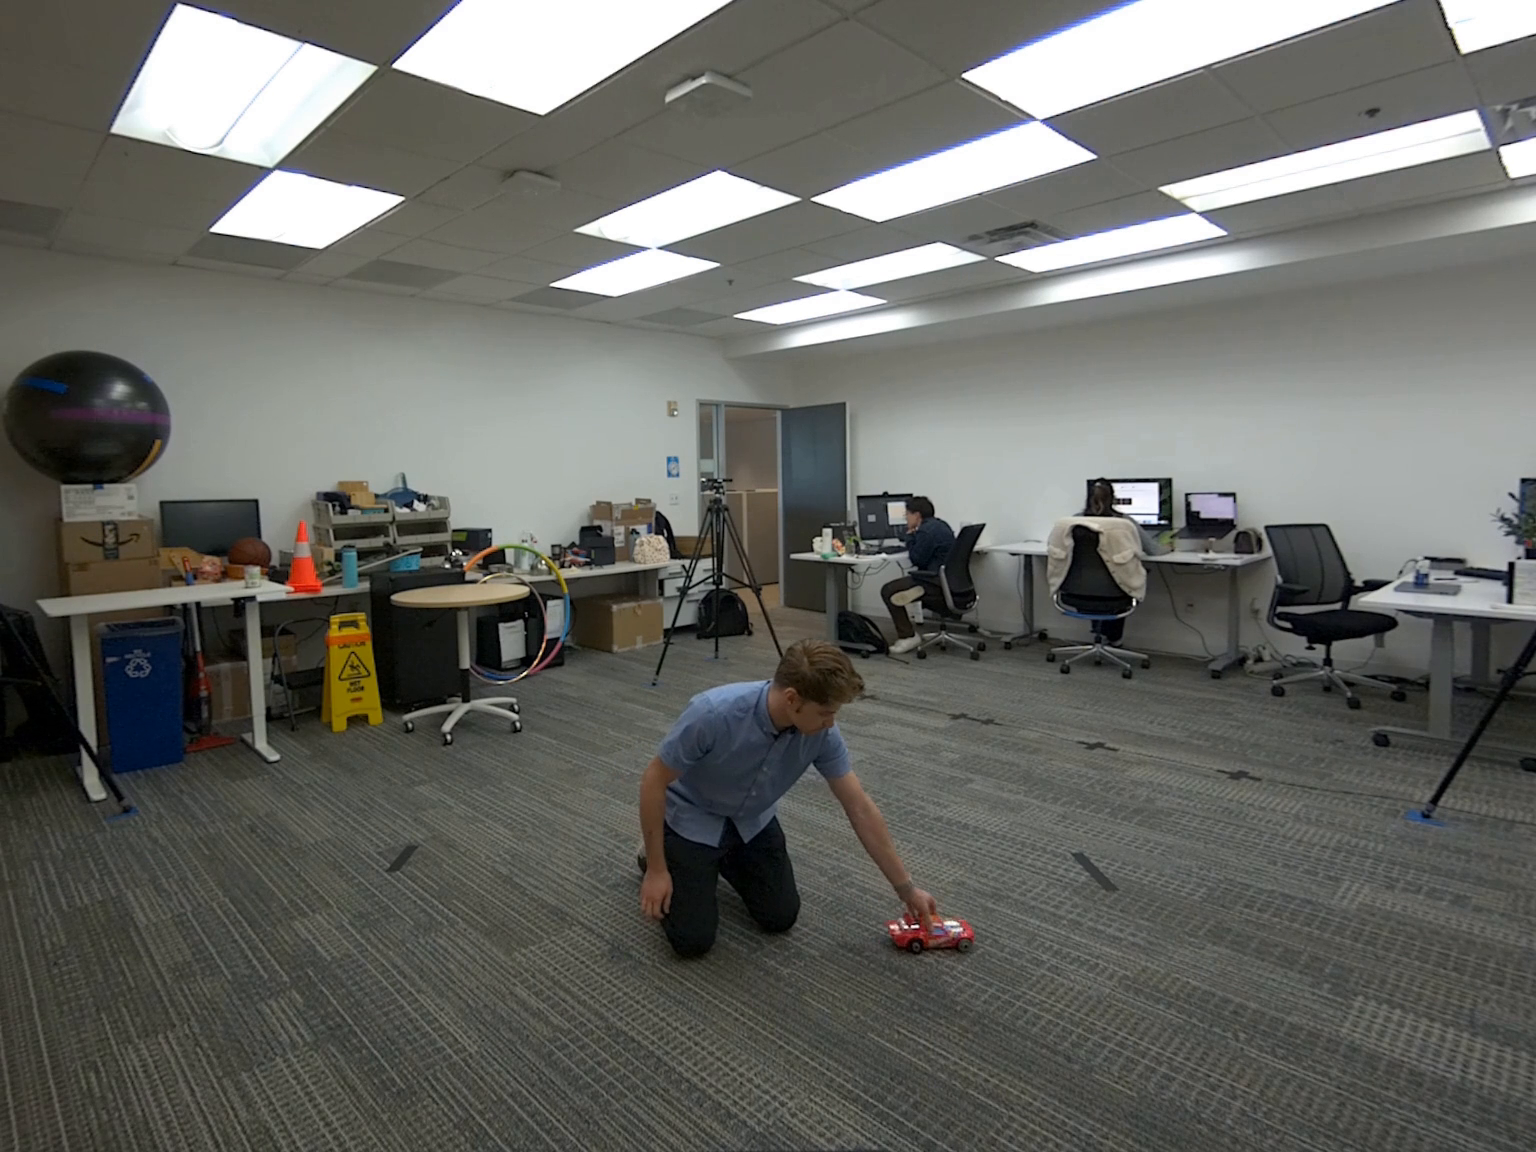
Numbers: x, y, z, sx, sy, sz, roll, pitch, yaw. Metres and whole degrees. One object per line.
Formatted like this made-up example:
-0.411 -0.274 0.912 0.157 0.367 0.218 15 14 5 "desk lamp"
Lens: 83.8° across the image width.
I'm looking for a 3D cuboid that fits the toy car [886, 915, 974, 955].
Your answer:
0.479 1.064 2.543 0.254 0.083 0.131 9 3 -3 "toy car"
